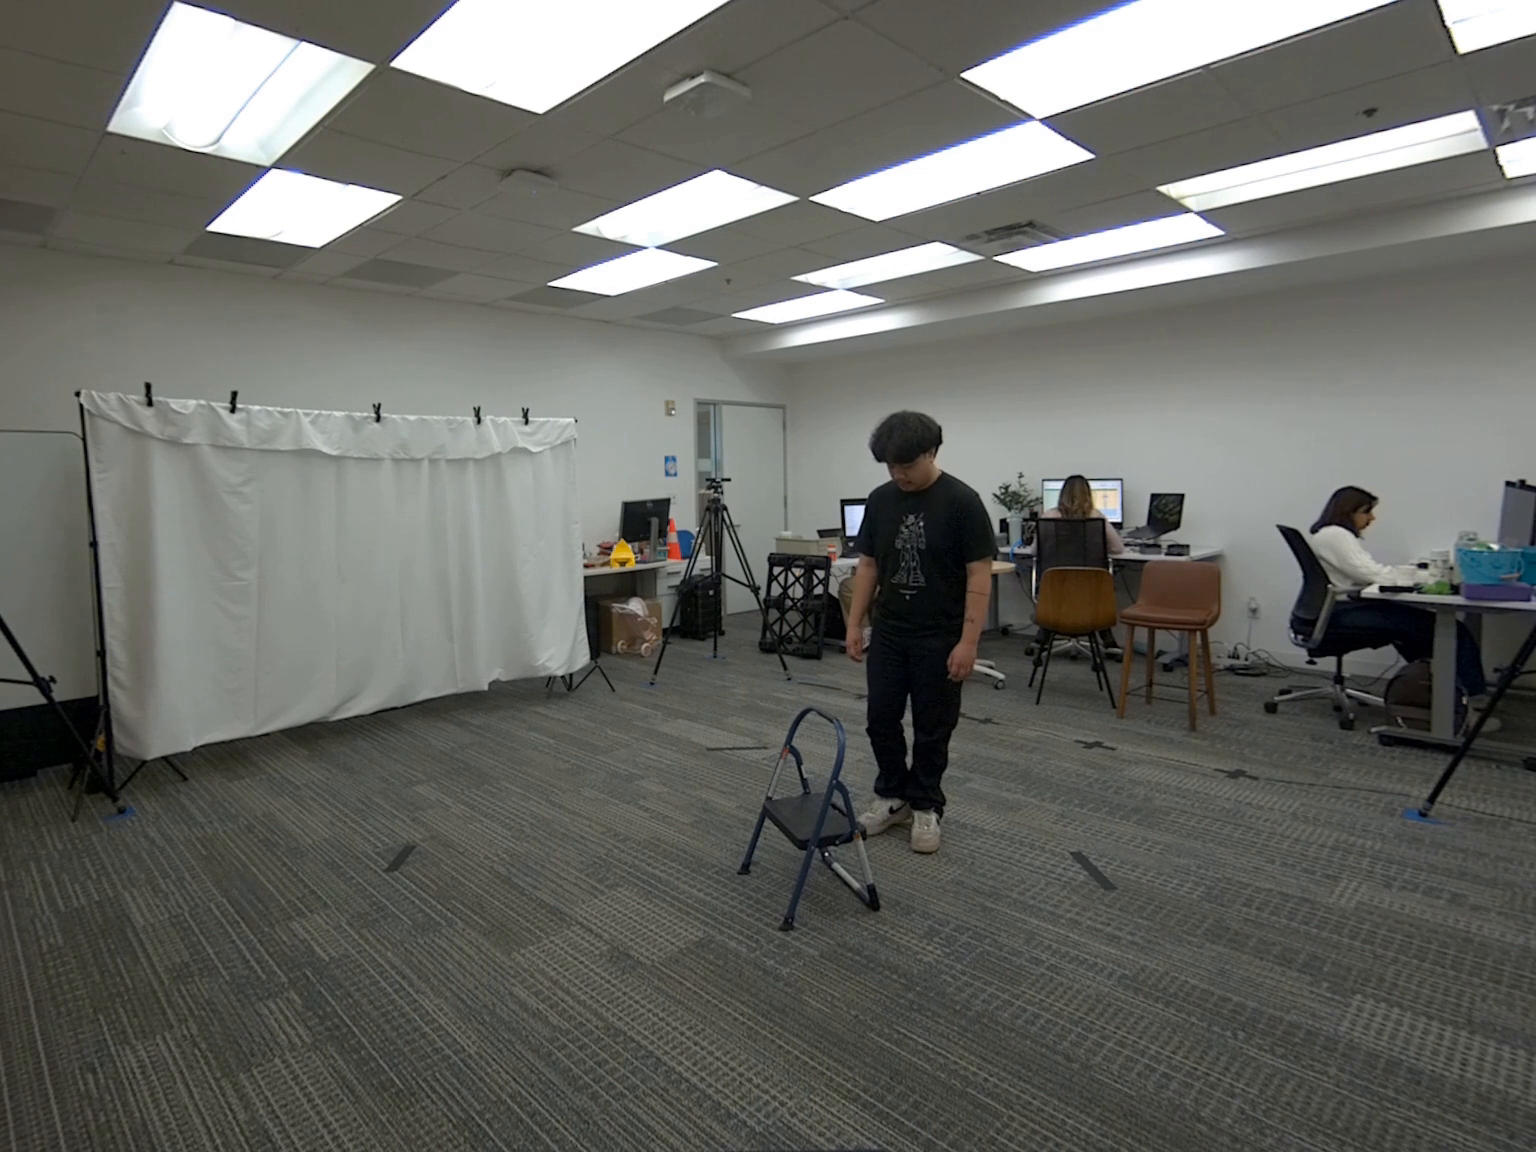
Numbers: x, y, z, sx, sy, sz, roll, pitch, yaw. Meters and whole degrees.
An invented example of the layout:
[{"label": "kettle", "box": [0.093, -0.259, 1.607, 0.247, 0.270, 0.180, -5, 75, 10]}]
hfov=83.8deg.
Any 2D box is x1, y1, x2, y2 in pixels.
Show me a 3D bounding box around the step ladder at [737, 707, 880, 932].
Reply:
[{"label": "step ladder", "box": [0.127, 0.762, 2.866, 0.343, 0.603, 0.440, -3, 5, -20]}]
